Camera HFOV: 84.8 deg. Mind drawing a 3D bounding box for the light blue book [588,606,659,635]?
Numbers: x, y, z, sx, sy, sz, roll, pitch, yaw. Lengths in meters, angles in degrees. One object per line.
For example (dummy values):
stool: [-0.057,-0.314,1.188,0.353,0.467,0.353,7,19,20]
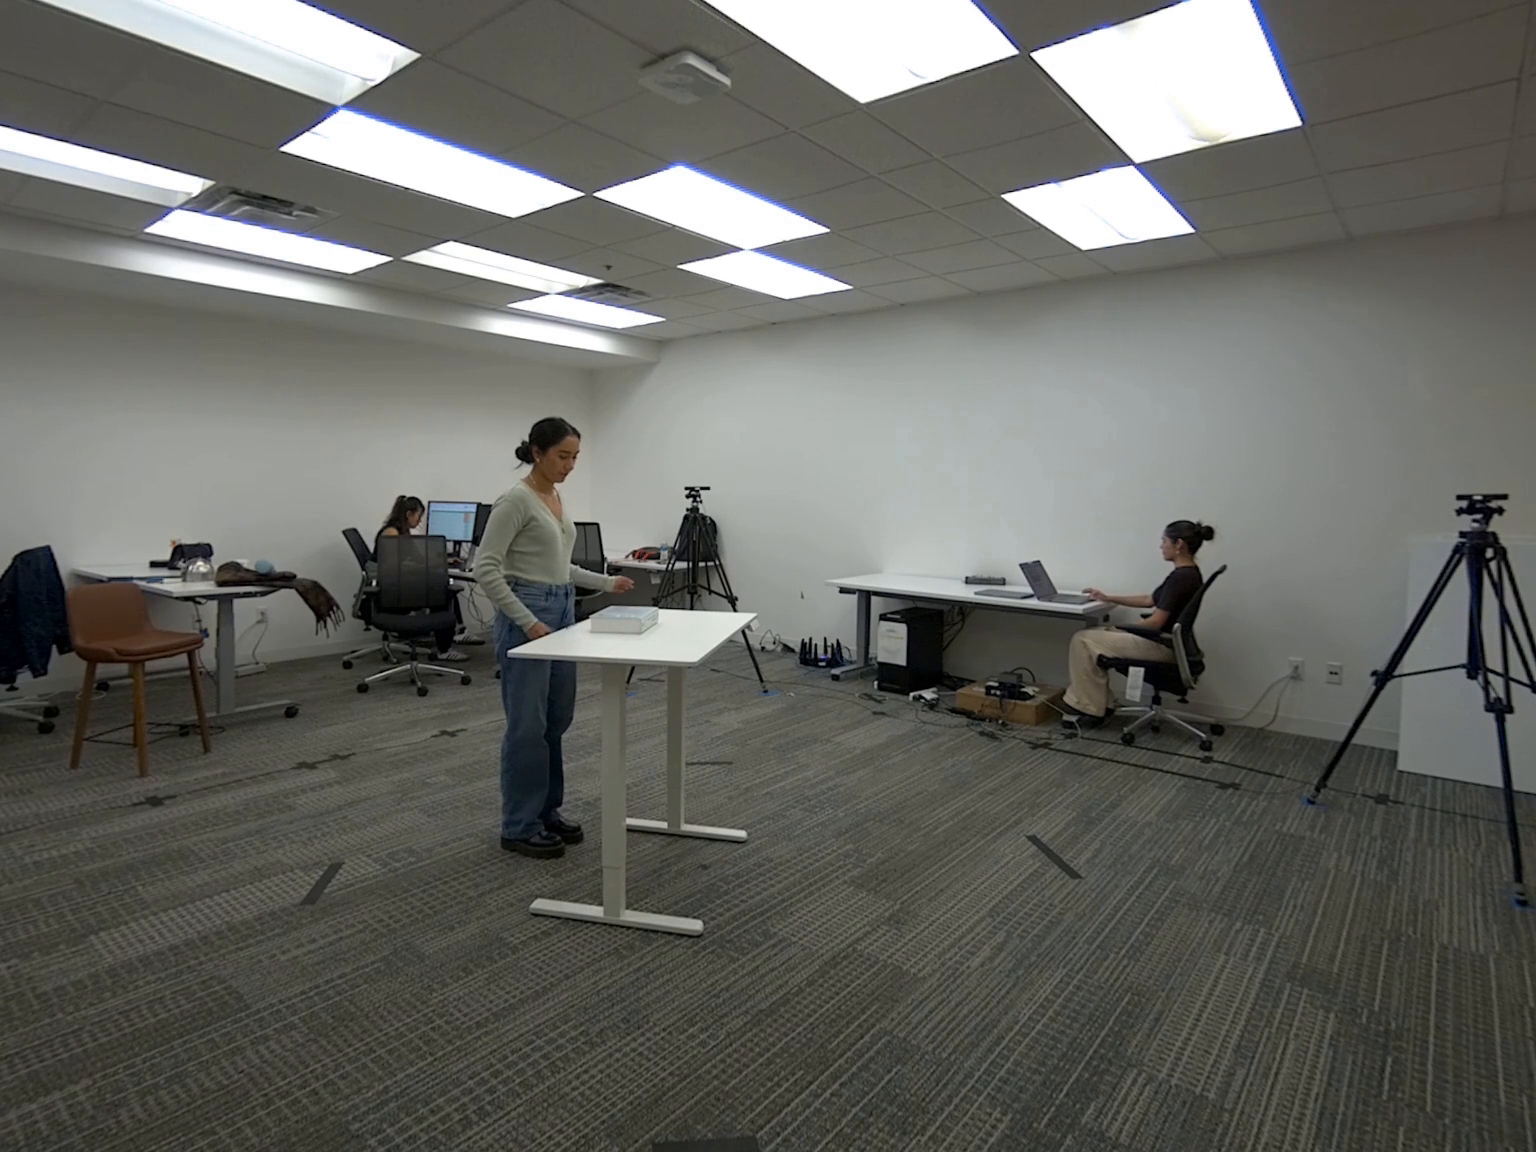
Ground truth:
light blue book: [-0.525,0.158,3.067,0.193,0.059,0.260,0,6,7]
